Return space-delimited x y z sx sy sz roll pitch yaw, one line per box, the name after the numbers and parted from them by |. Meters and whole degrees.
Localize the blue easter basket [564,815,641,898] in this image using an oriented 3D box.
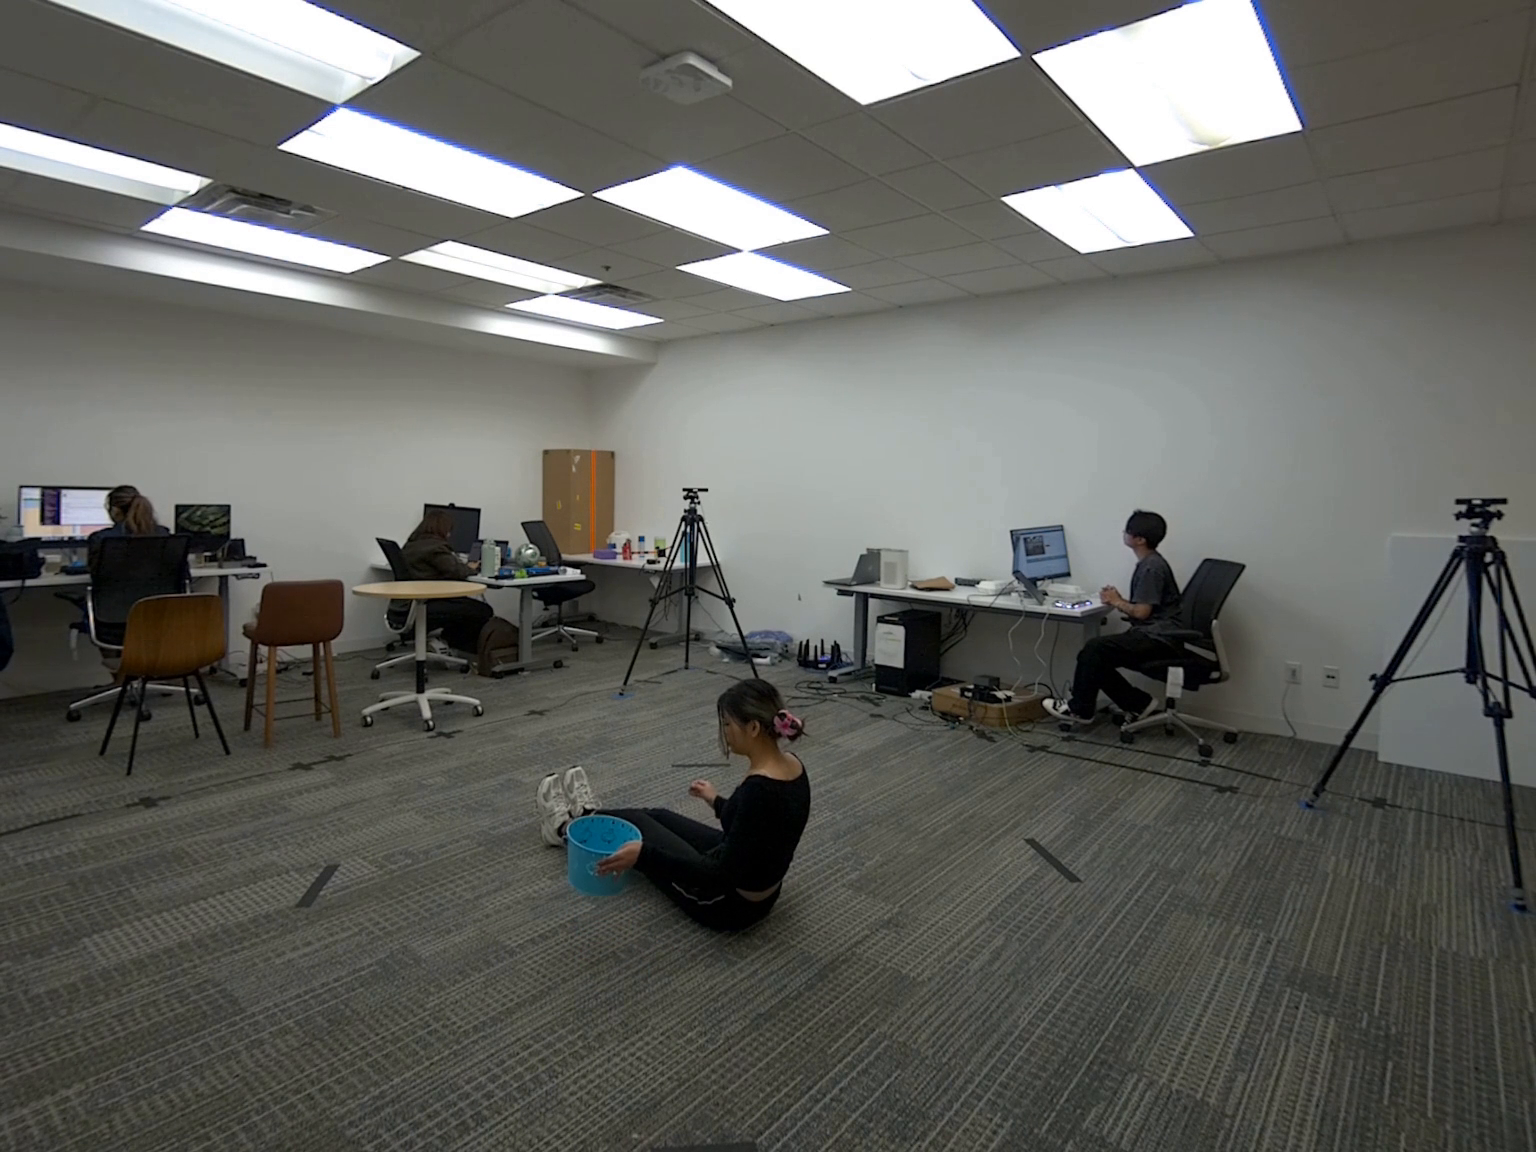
-0.512 0.860 2.603 0.243 0.155 0.245 9 6 -3 | blue easter basket
